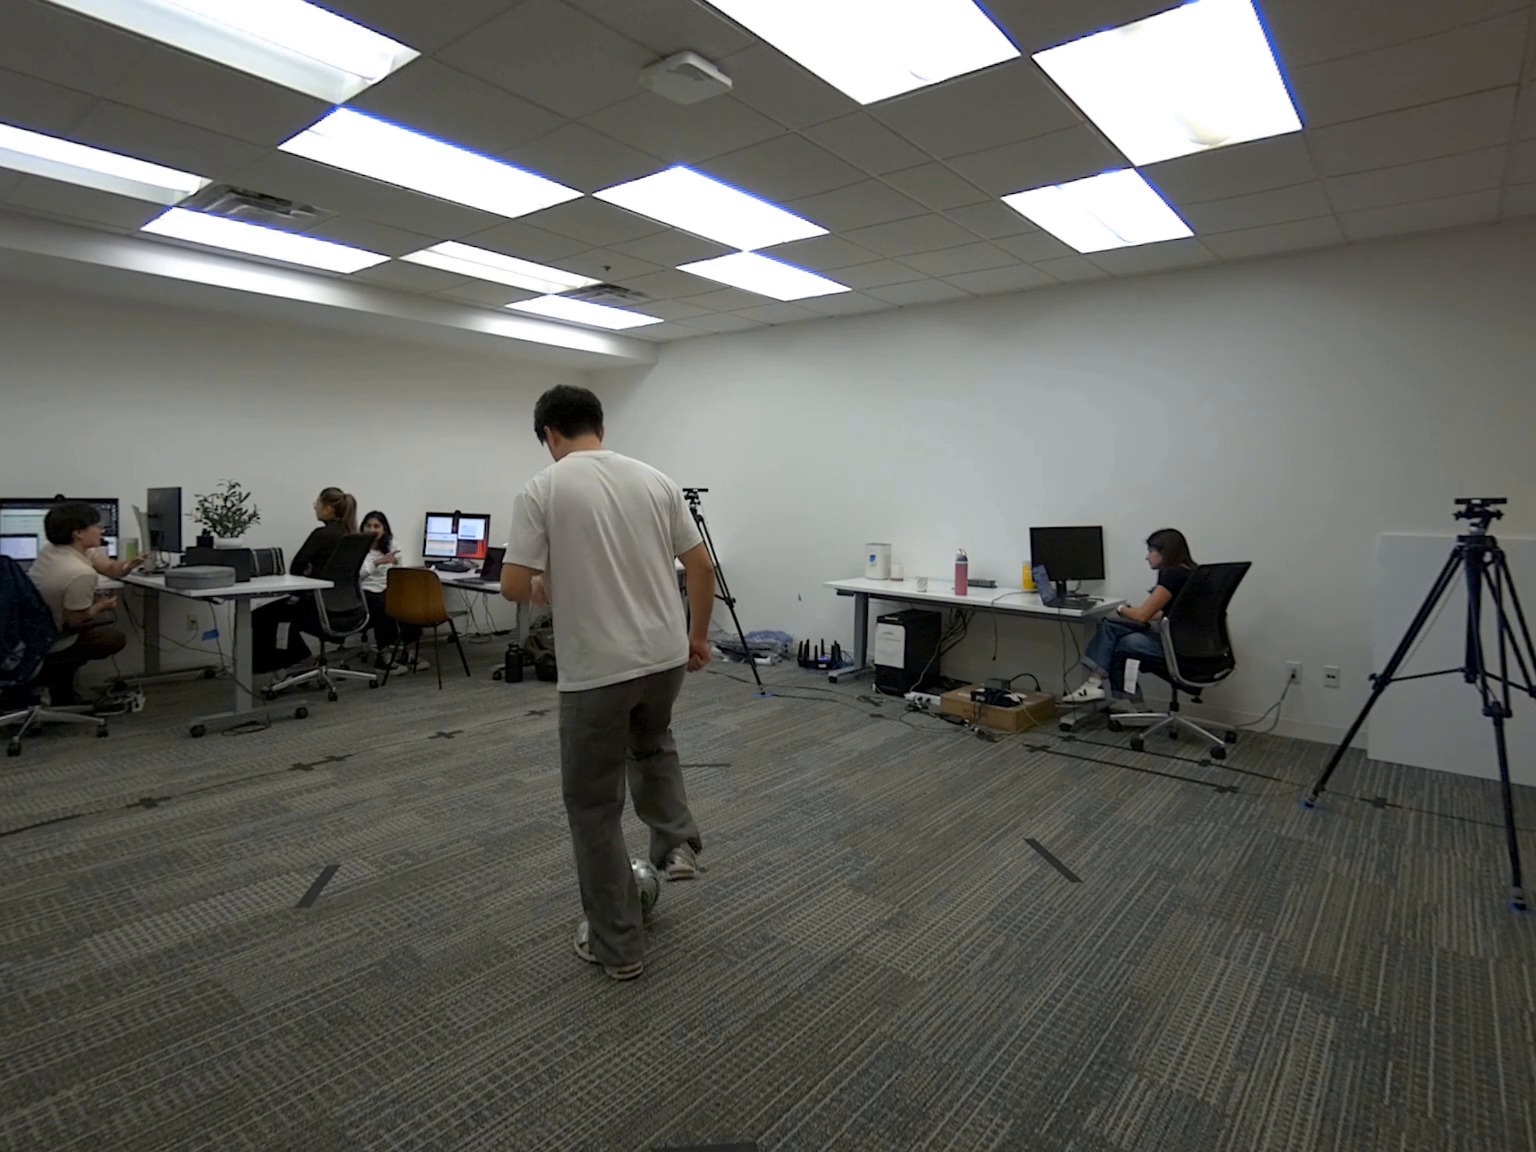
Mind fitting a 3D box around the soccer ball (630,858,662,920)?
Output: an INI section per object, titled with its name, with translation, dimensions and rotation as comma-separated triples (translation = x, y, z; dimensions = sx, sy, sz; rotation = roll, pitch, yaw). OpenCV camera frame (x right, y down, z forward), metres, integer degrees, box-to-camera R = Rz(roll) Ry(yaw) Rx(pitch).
[soccer ball]
translation = -0.429, 1.000, 2.752
dimensions = 0.187, 0.187, 0.188
rotation = 1, 4, -2
